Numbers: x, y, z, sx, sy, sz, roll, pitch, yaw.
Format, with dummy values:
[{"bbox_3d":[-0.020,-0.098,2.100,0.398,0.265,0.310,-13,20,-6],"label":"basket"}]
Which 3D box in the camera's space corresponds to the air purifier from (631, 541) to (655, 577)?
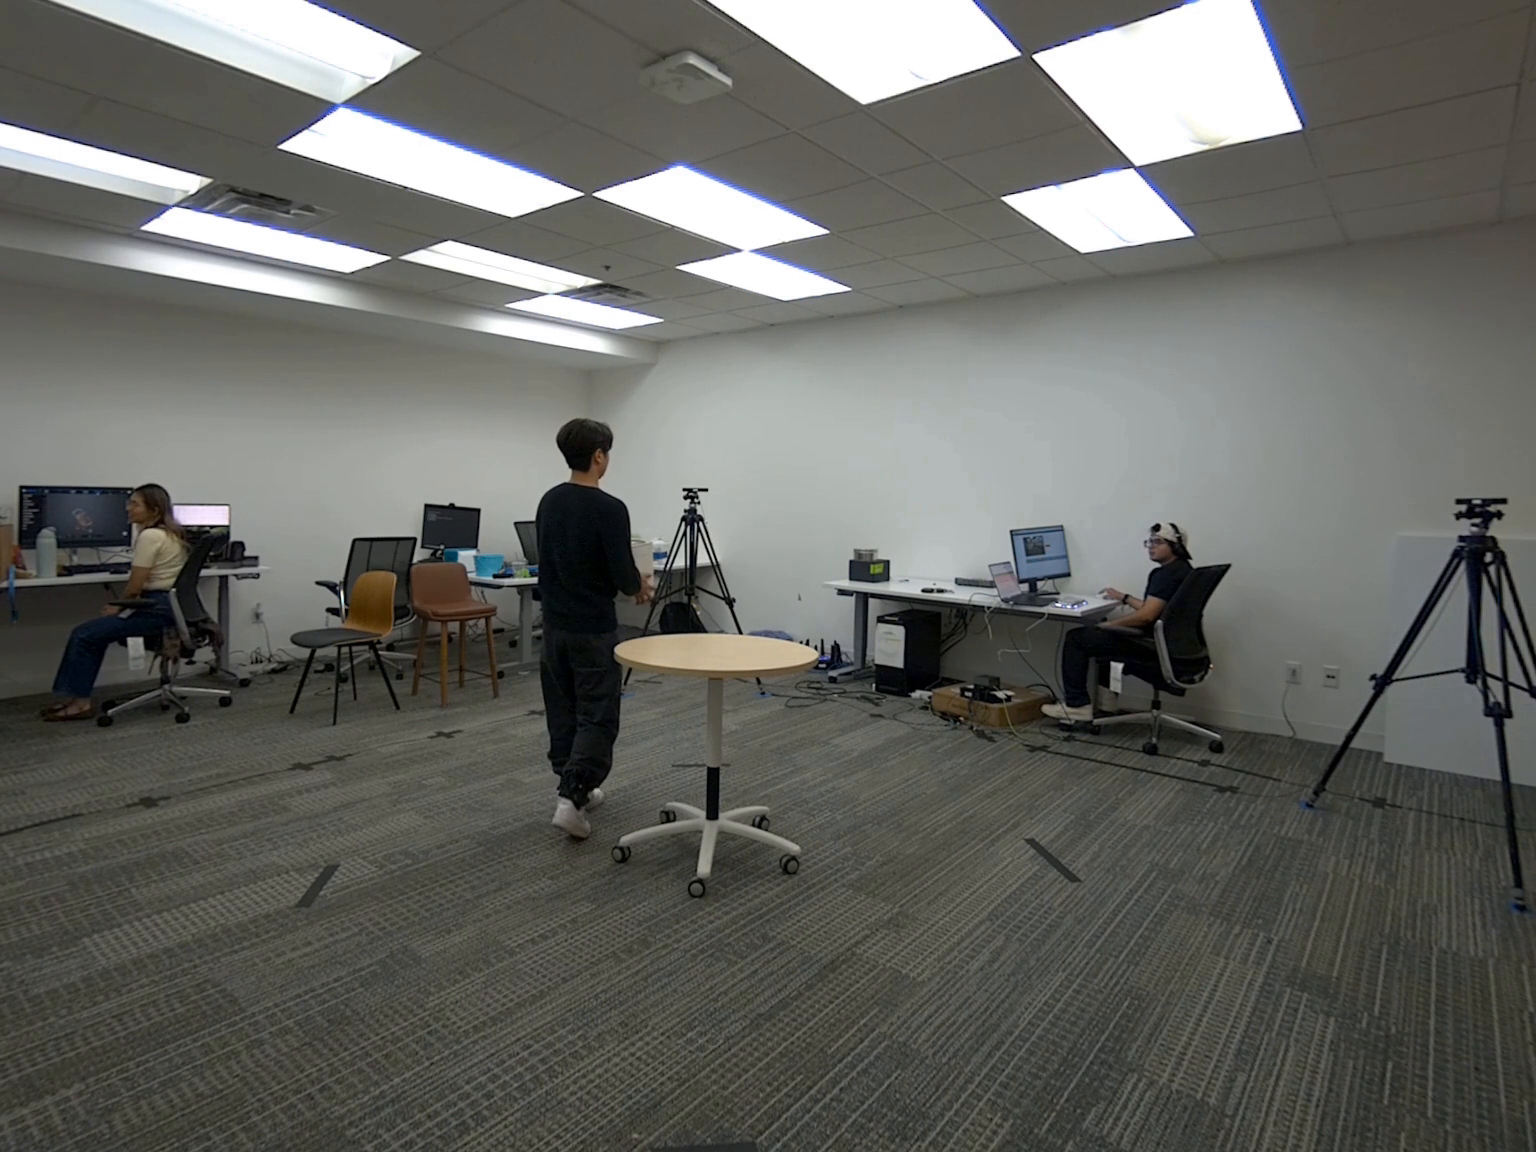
[{"bbox_3d":[-0.624,-0.023,3.799,0.177,0.263,0.167,6,11,32],"label":"air purifier"}]
